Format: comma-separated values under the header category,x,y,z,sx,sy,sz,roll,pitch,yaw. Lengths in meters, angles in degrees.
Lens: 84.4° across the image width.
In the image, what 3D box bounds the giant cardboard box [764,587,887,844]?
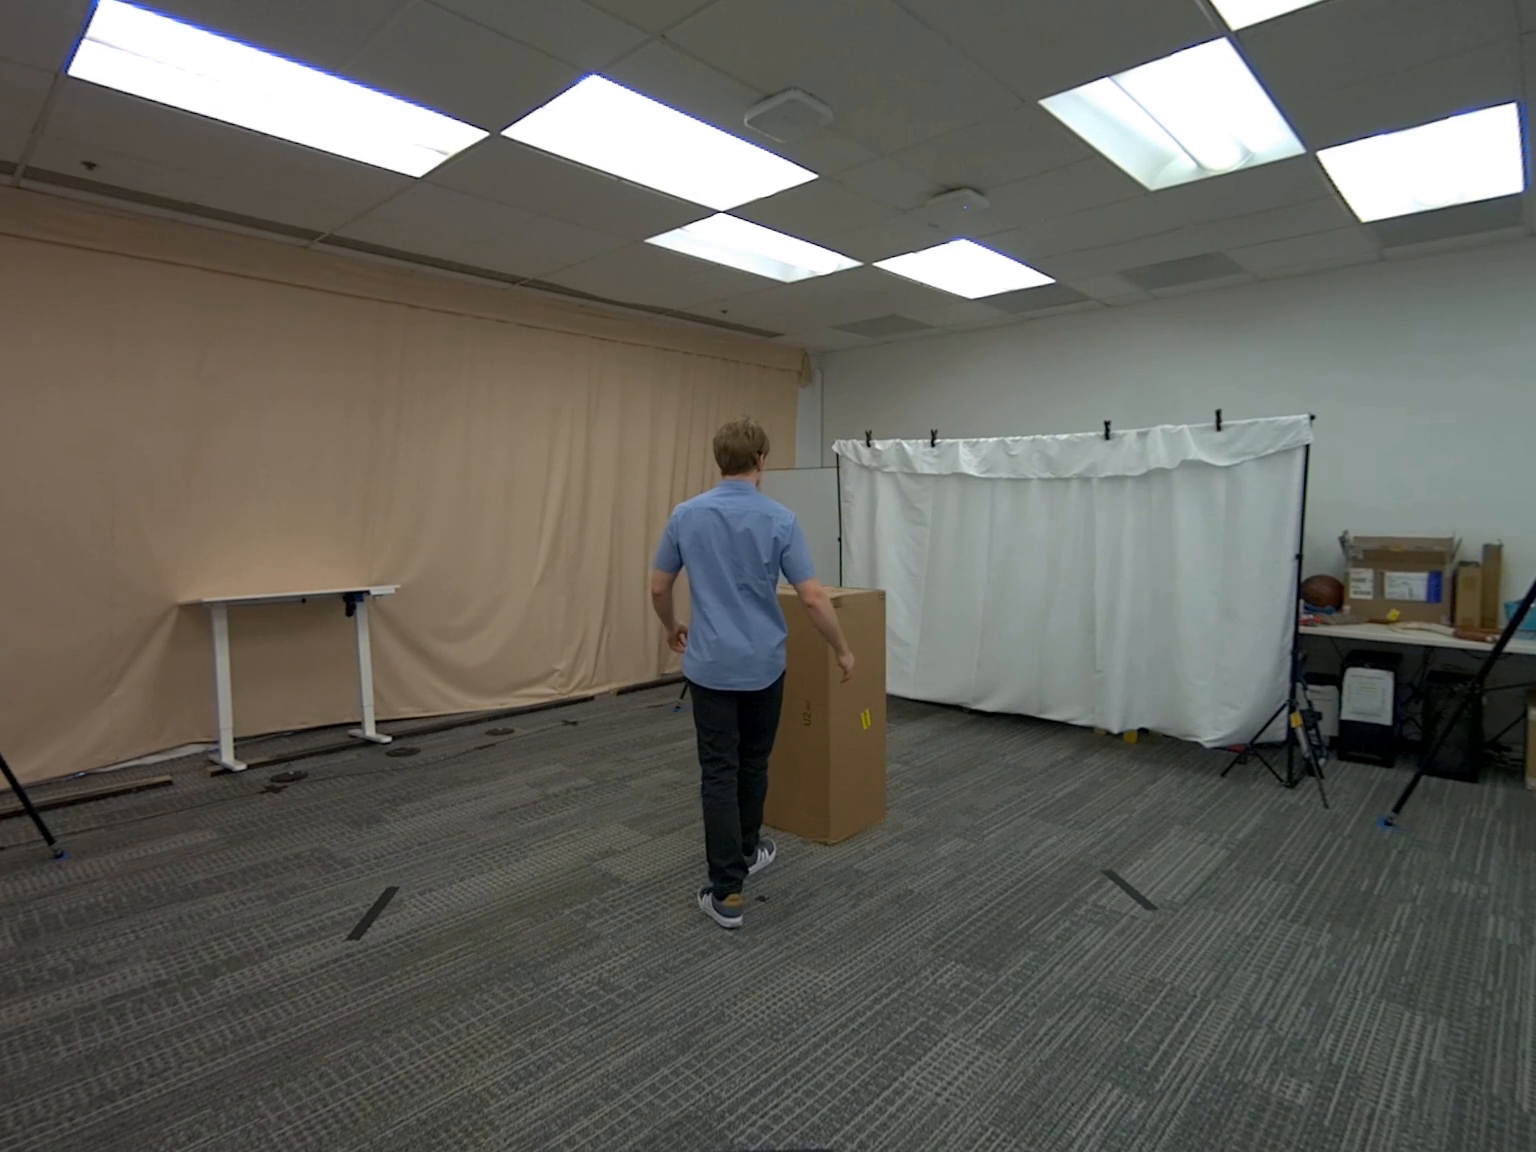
category,x,y,z,sx,sy,sz,roll,pitch,yaw
giant cardboard box,0.176,0.571,3.773,0.596,1.024,0.413,2,3,43
